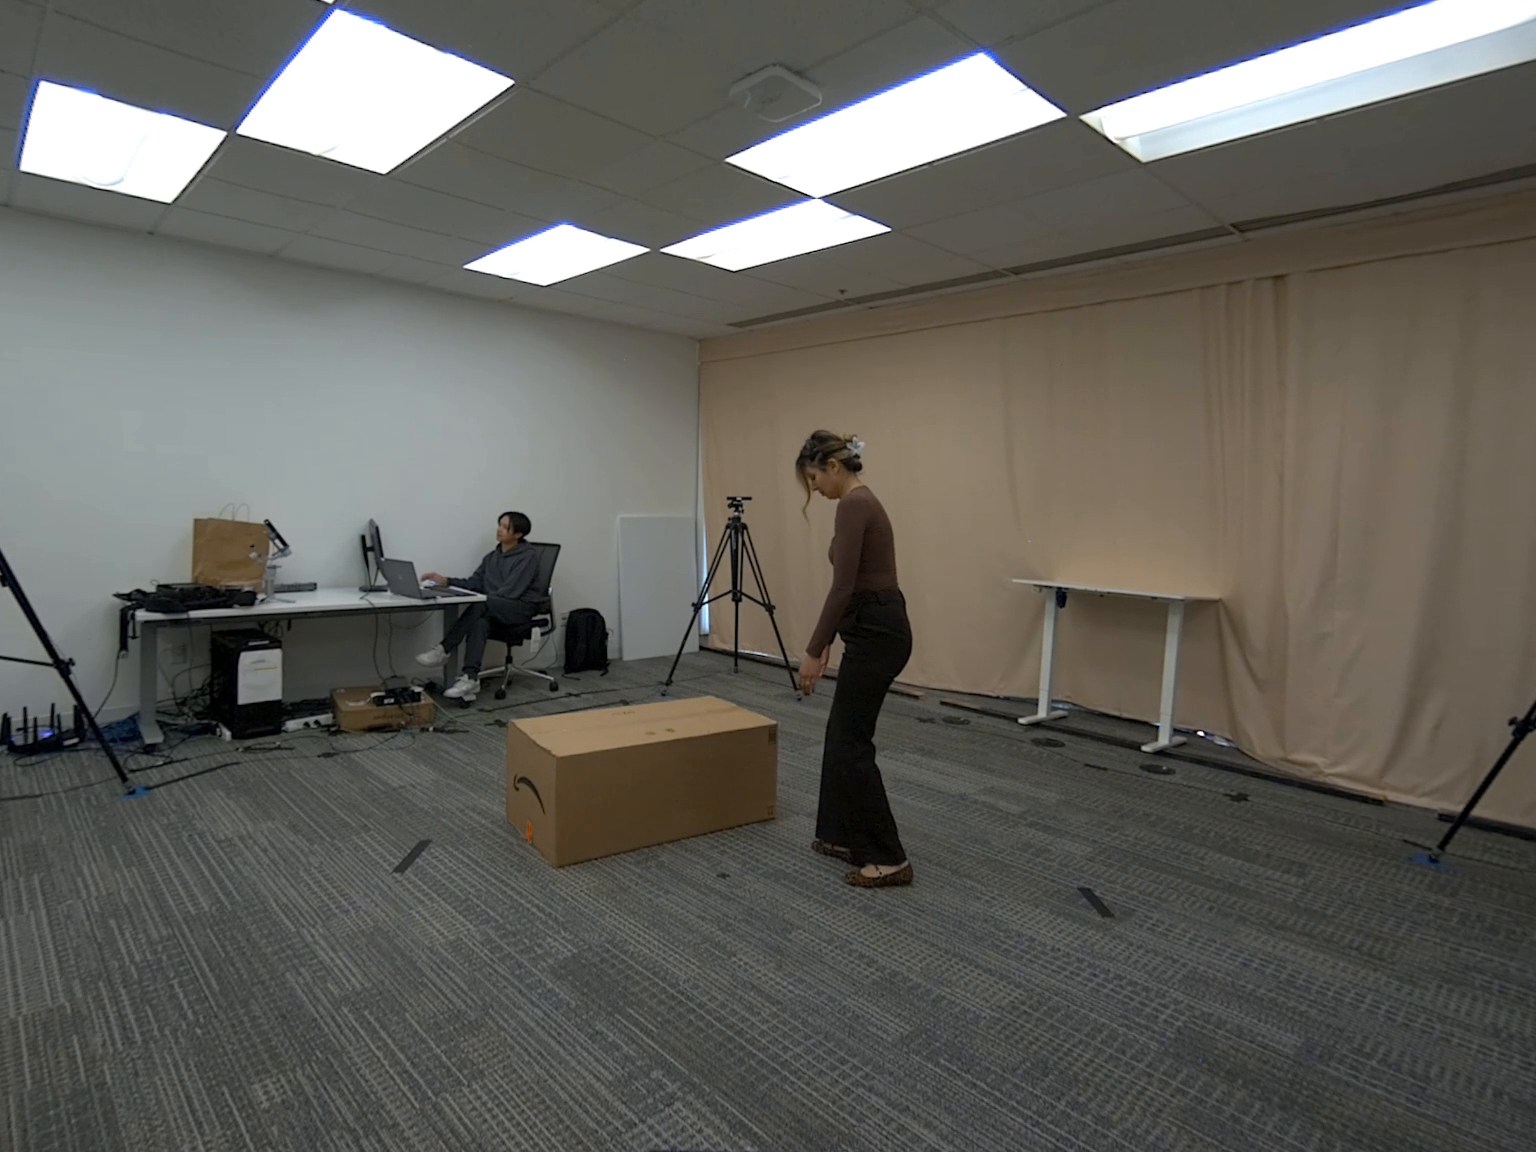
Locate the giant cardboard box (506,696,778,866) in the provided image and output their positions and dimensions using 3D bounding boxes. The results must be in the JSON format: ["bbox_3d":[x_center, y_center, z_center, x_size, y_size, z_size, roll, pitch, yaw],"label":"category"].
[{"bbox_3d":[-0.542,0.839,3.638,1.005,0.446,0.598,-1,4,-34],"label":"giant cardboard box"}]
